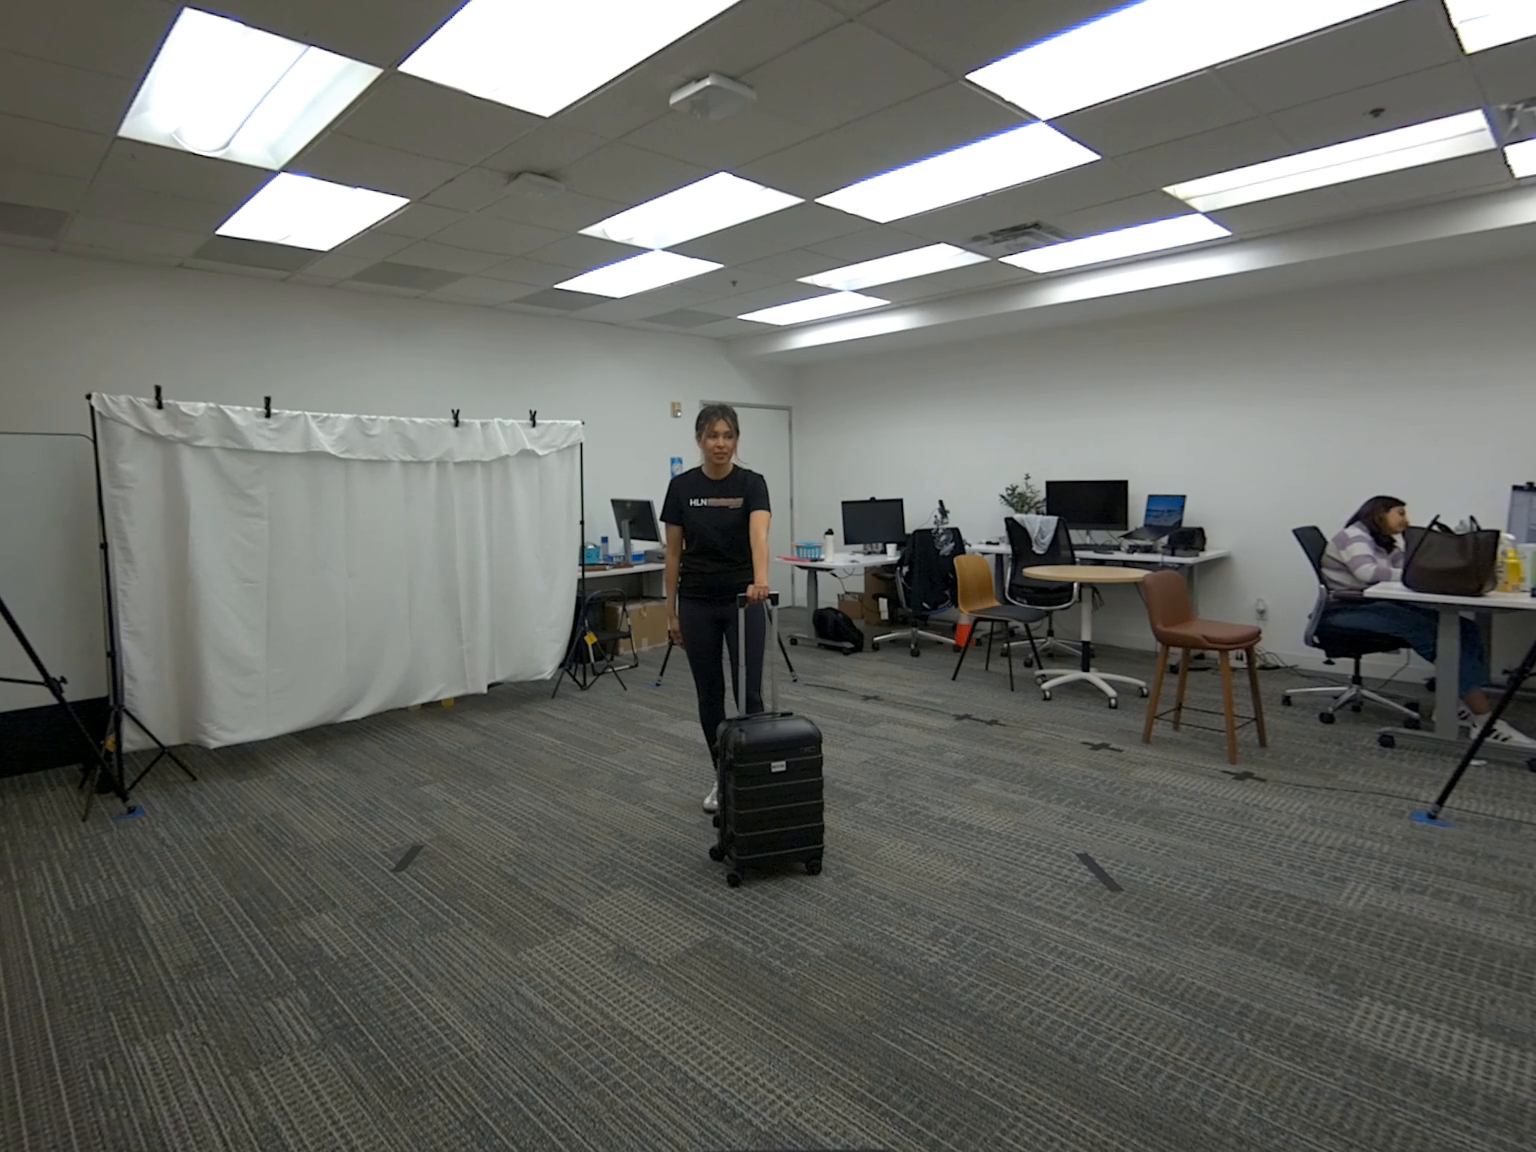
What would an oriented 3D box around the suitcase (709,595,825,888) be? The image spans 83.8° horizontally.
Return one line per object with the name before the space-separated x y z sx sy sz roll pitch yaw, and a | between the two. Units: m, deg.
suitcase | -0.002 0.574 3.058 0.378 0.974 0.262 -2 5 -19
